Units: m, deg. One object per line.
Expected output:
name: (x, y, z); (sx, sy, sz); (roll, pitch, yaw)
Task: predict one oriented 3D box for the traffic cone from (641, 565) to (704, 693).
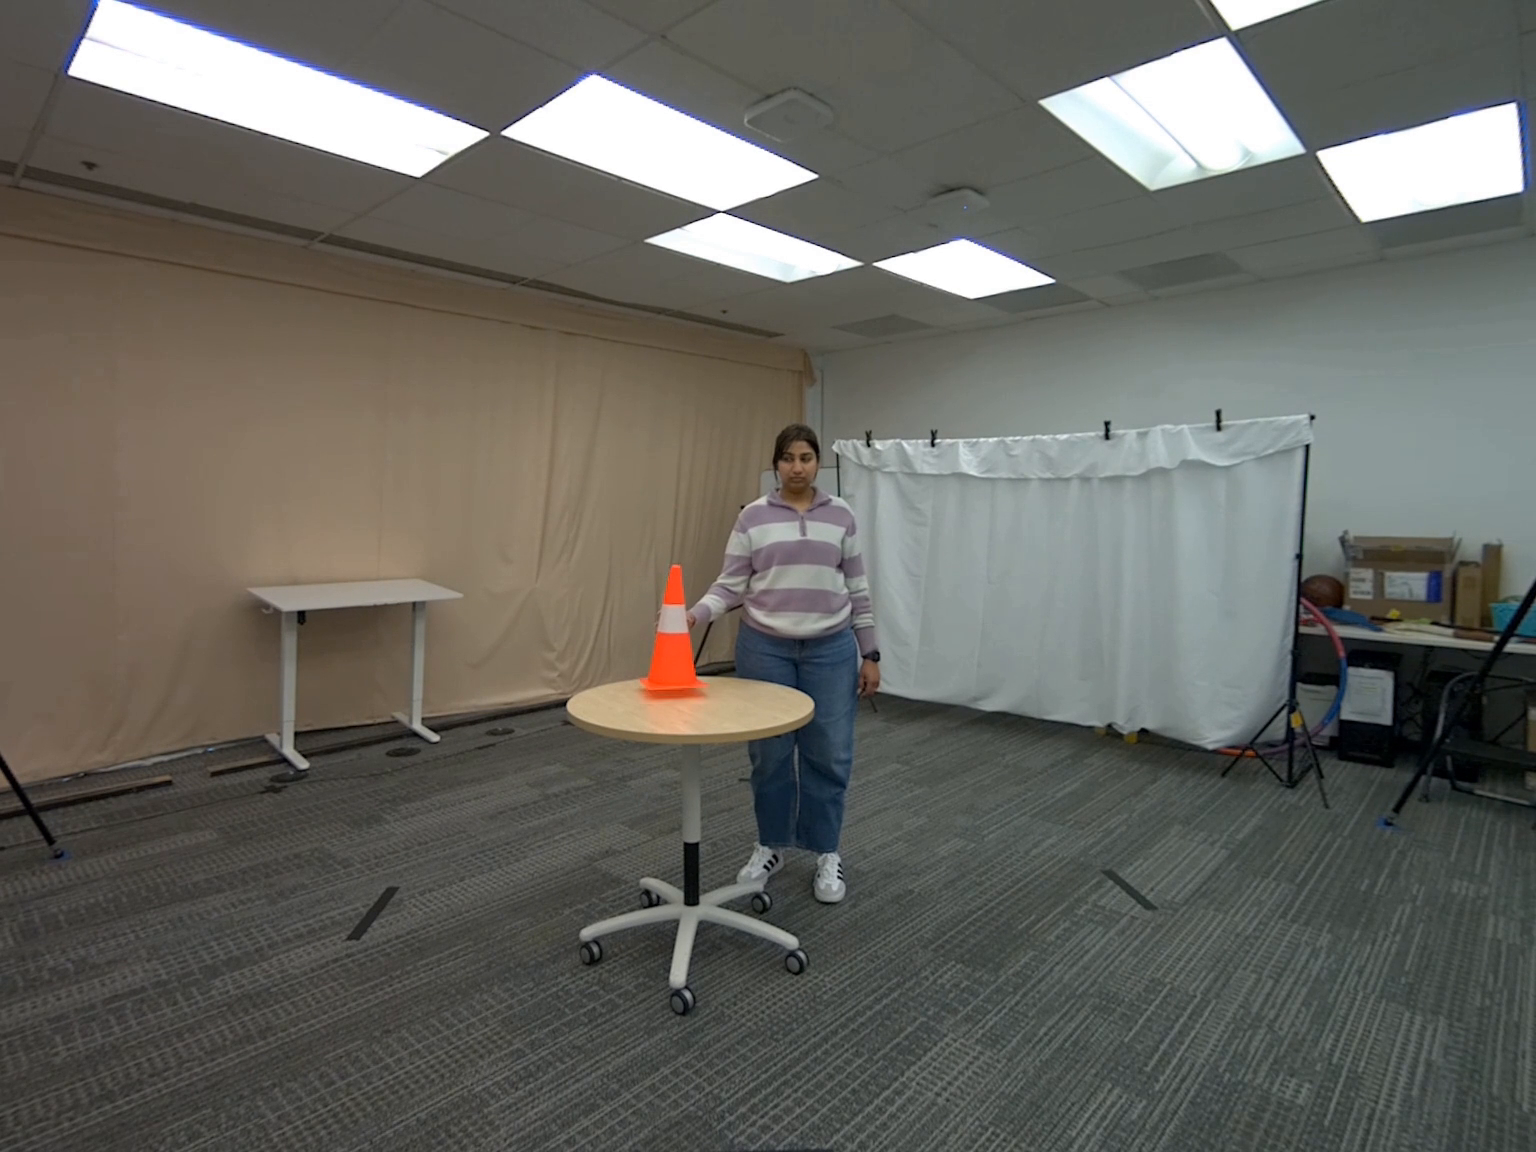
traffic cone: (-0.303, 0.161, 2.738); (0.199, 0.383, 0.209); (1, 0, -21)
